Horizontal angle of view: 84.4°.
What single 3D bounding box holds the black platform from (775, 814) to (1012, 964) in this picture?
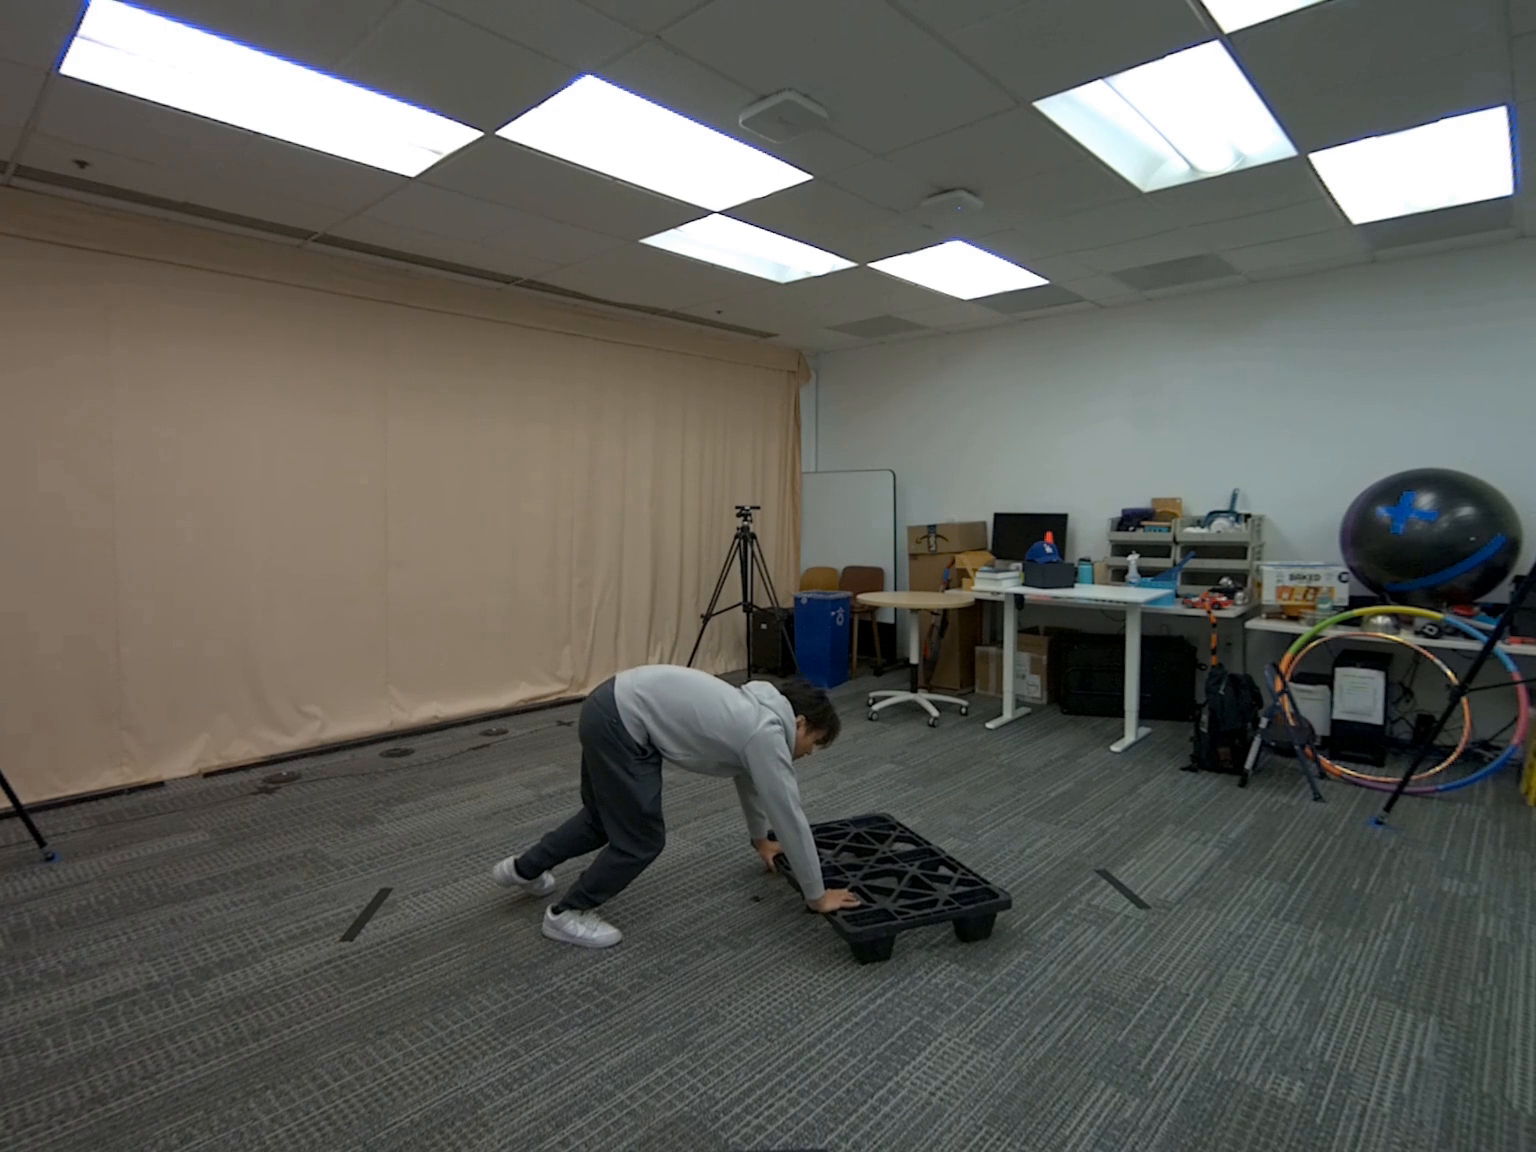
[{"bbox_3d":[0.358,1.072,2.969,0.593,0.143,0.825,-2,5,-22],"label":"black platform"}]
